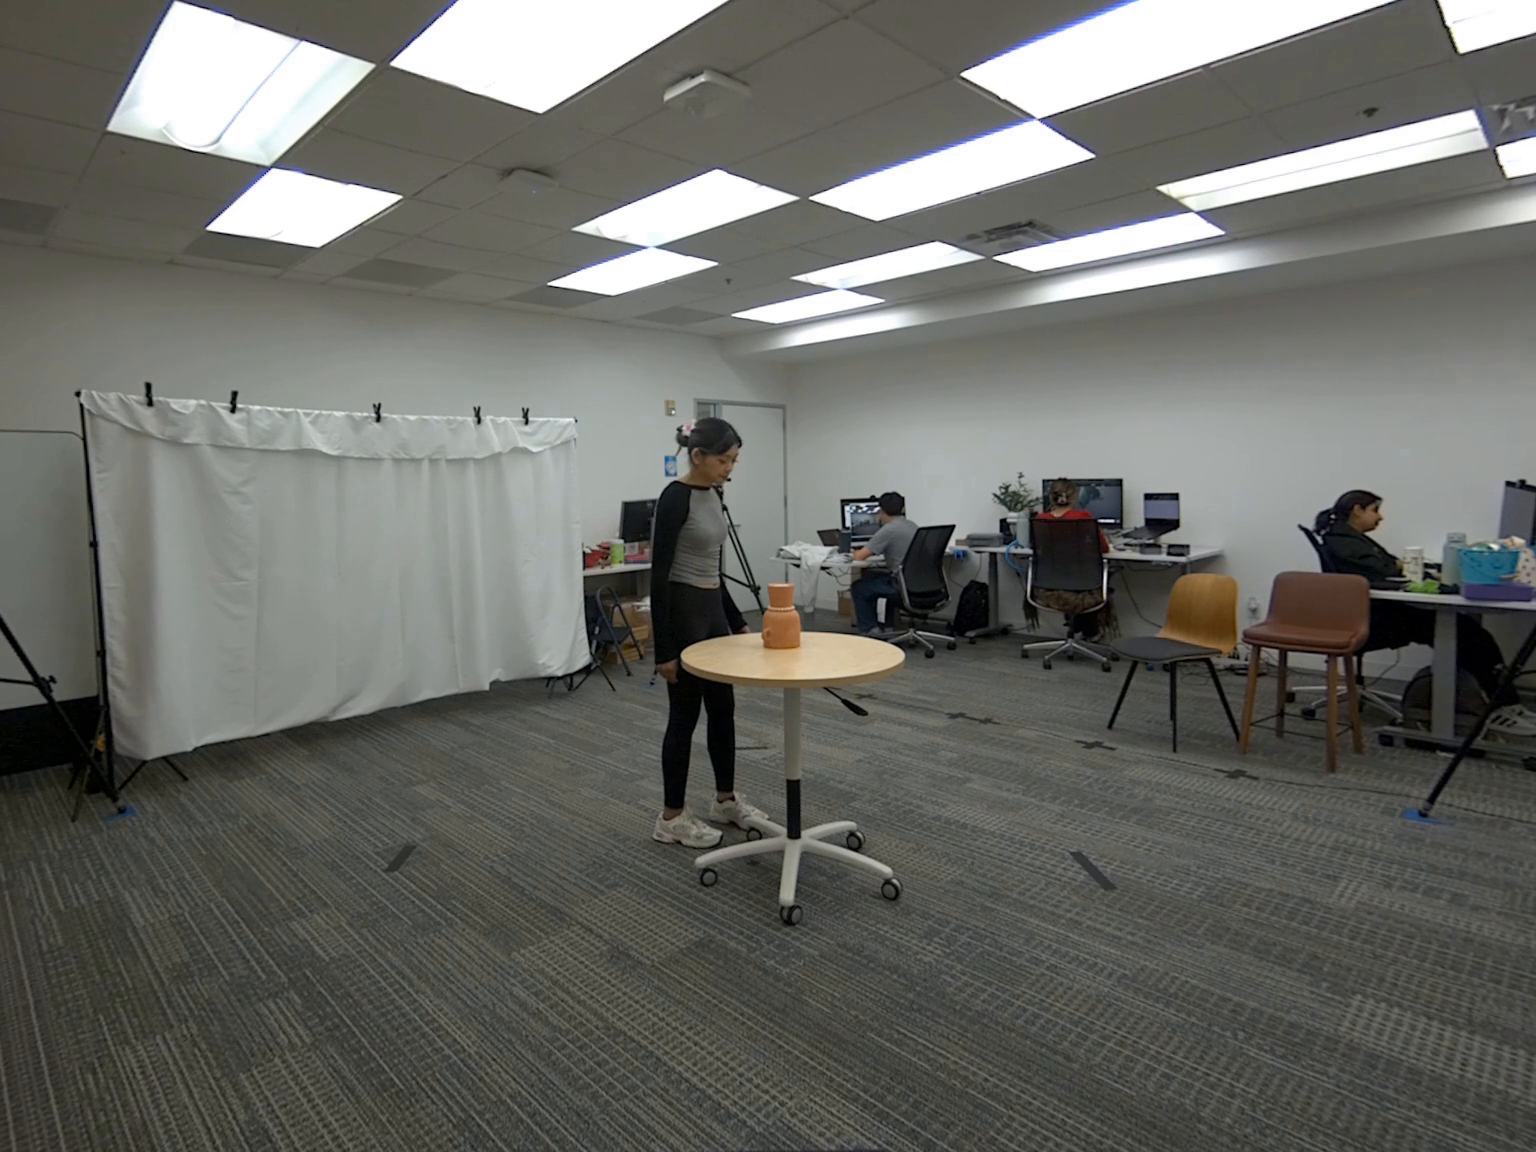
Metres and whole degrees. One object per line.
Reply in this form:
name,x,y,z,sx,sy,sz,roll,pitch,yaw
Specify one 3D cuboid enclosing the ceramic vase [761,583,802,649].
ceramic vase,0.046,0.140,3.065,0.135,0.219,0.158,-1,4,5
